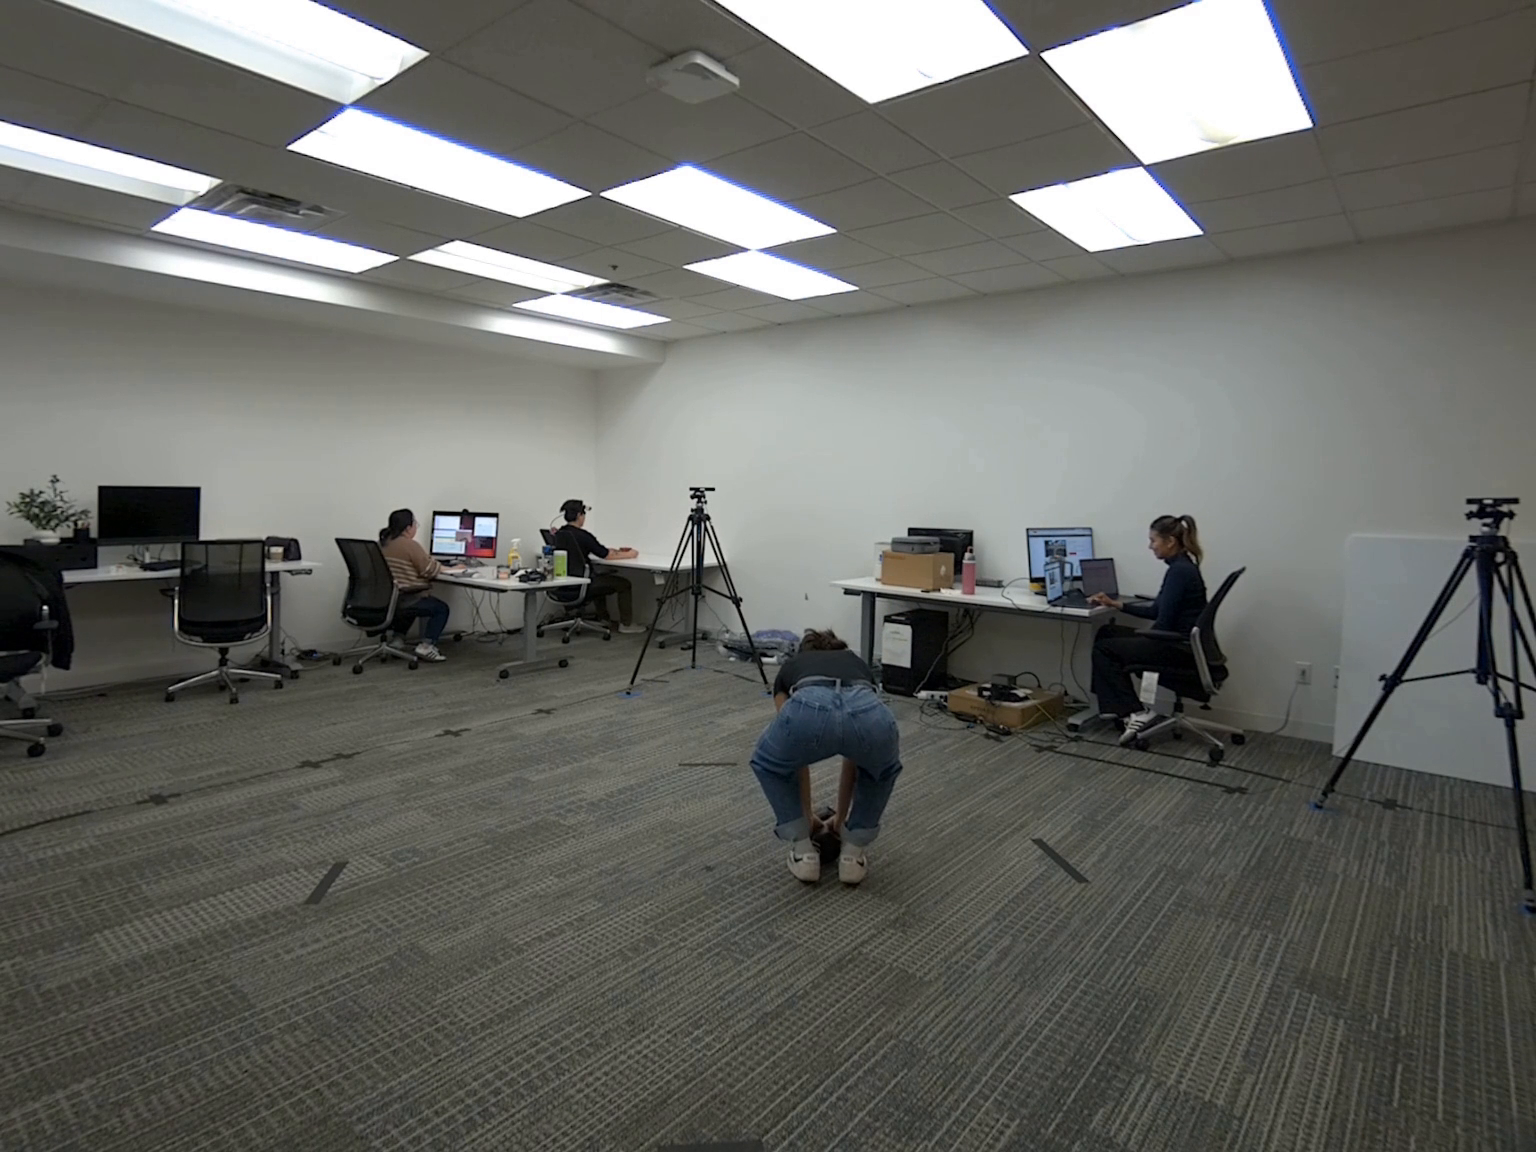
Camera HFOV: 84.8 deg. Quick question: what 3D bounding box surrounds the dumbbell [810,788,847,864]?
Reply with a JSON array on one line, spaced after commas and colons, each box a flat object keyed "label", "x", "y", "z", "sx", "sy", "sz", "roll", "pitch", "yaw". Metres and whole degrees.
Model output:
[{"label": "dumbbell", "x": 0.212, "y": 0.996, "z": 3.314, "sx": 0.109, "sy": 0.122, "sz": 0.294, "roll": 5, "pitch": 9, "yaw": 3}]
